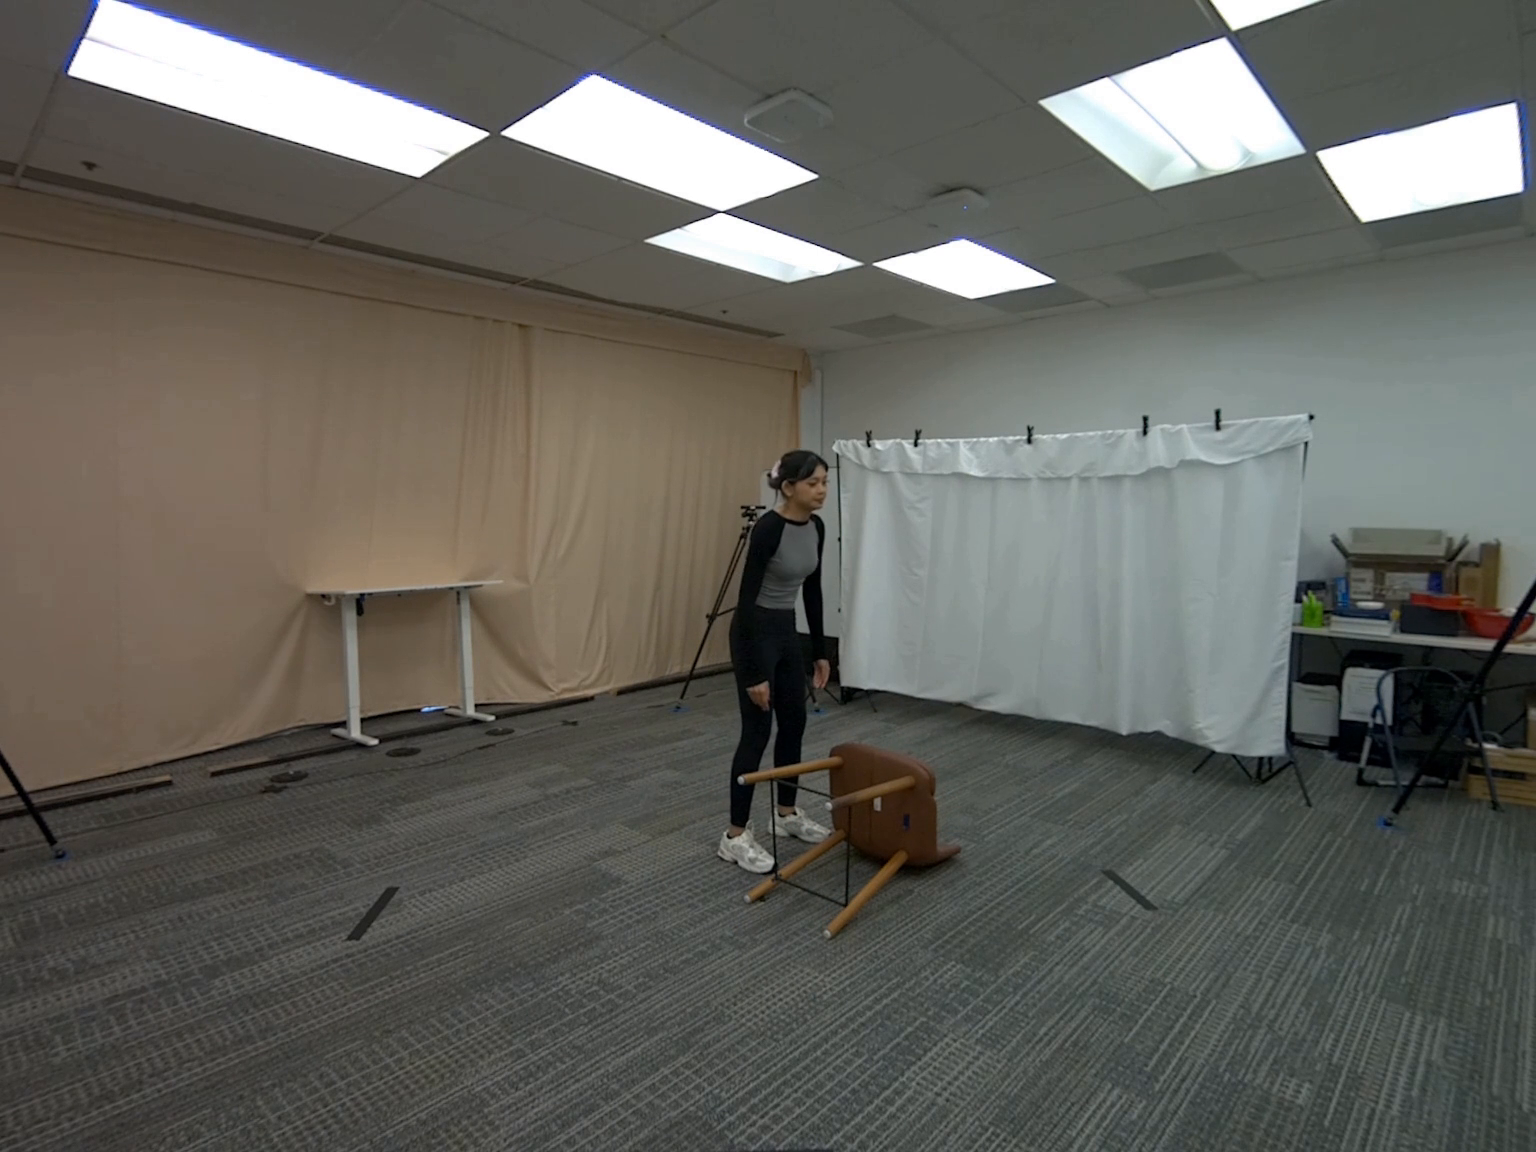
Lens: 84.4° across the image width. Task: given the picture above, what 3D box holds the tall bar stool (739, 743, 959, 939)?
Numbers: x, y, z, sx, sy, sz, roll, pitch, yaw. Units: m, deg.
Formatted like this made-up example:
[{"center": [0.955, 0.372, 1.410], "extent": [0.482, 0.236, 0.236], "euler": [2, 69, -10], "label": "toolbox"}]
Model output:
[{"center": [0.344, 0.902, 3.120], "extent": [0.472, 0.466, 0.862], "euler": [3, 5, 42], "label": "tall bar stool"}]
